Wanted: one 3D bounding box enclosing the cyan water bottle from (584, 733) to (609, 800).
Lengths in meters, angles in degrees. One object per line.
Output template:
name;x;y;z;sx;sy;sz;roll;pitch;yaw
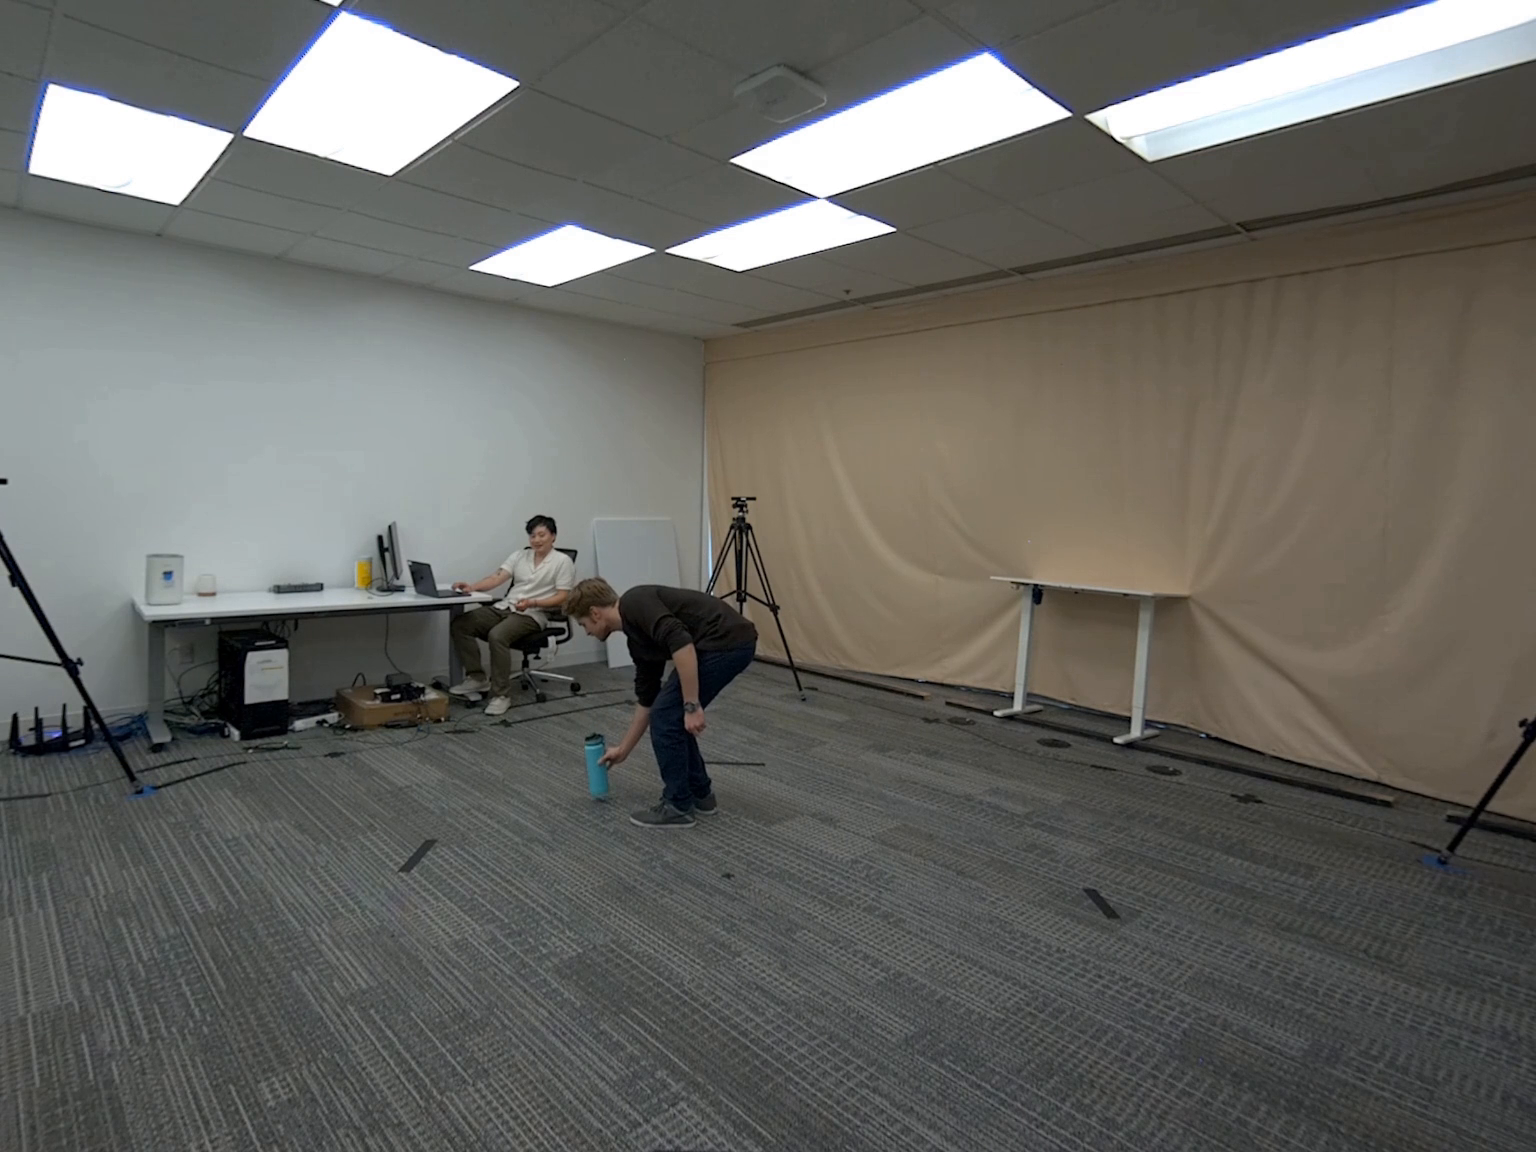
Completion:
cyan water bottle;-0.789;0.843;3.836;0.092;0.283;0.092;-5;2;-1
